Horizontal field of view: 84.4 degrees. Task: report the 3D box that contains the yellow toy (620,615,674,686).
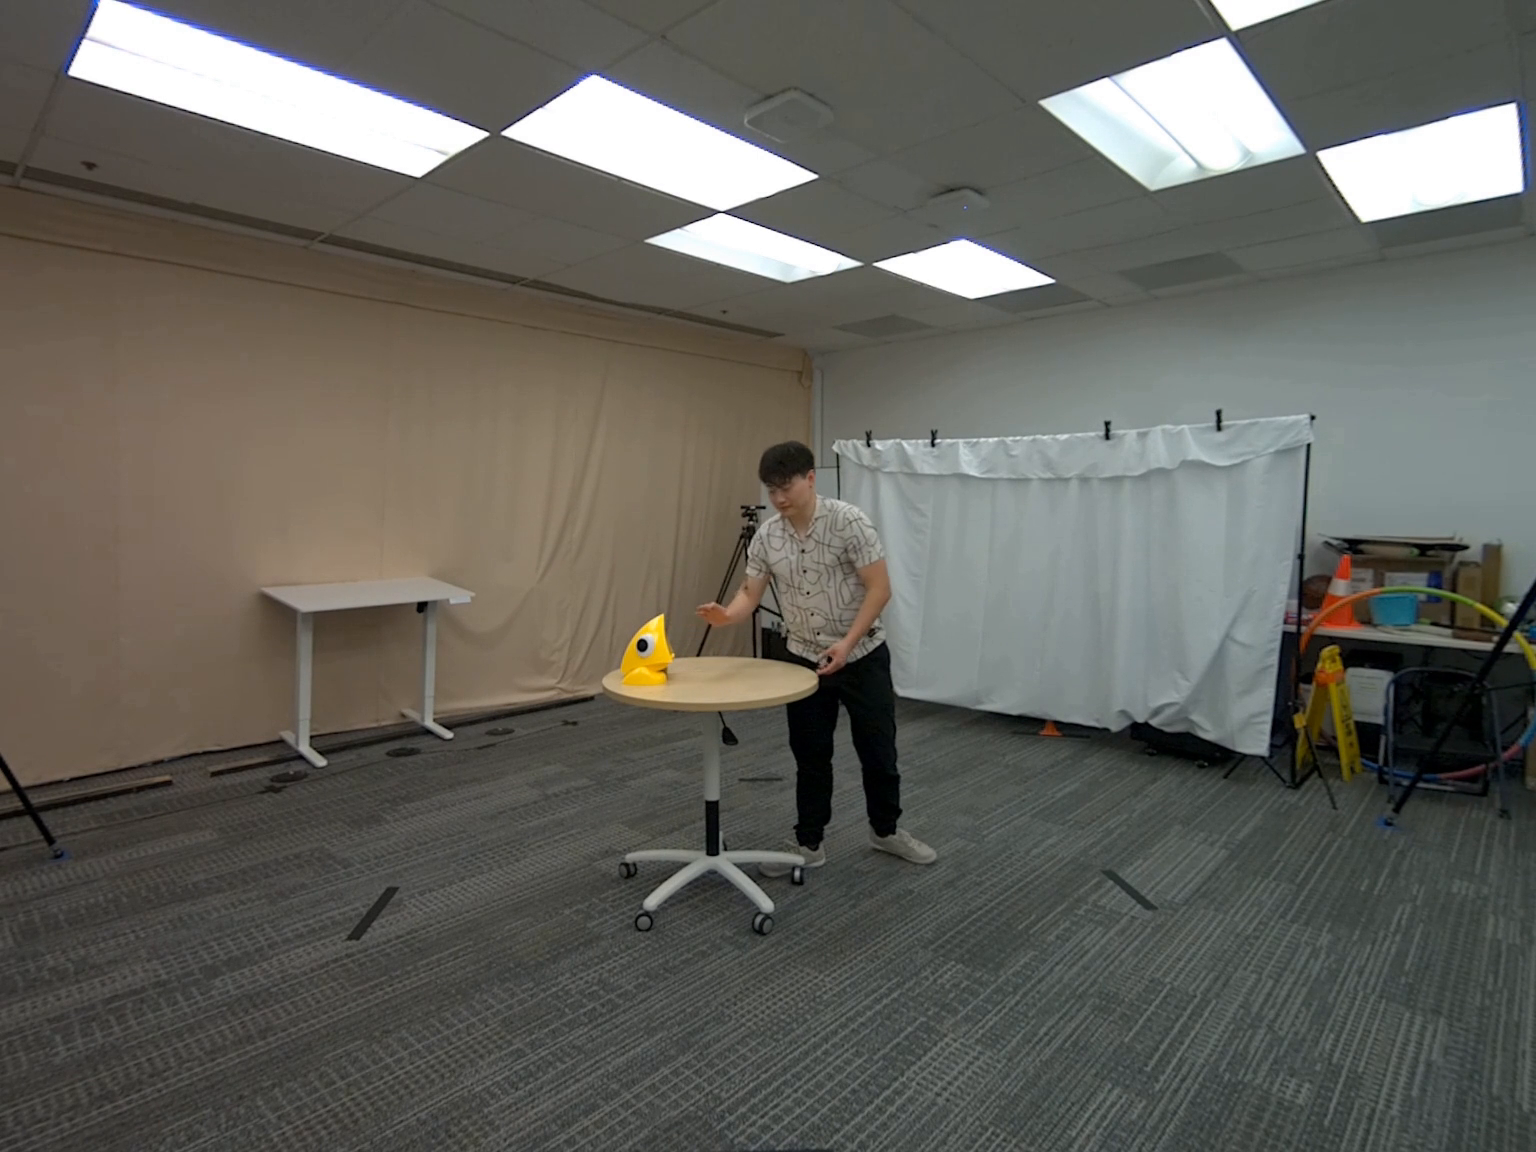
[{"bbox_3d":[-0.433,0.252,2.972,0.192,0.230,0.206,0,4,-4],"label":"yellow toy"}]
